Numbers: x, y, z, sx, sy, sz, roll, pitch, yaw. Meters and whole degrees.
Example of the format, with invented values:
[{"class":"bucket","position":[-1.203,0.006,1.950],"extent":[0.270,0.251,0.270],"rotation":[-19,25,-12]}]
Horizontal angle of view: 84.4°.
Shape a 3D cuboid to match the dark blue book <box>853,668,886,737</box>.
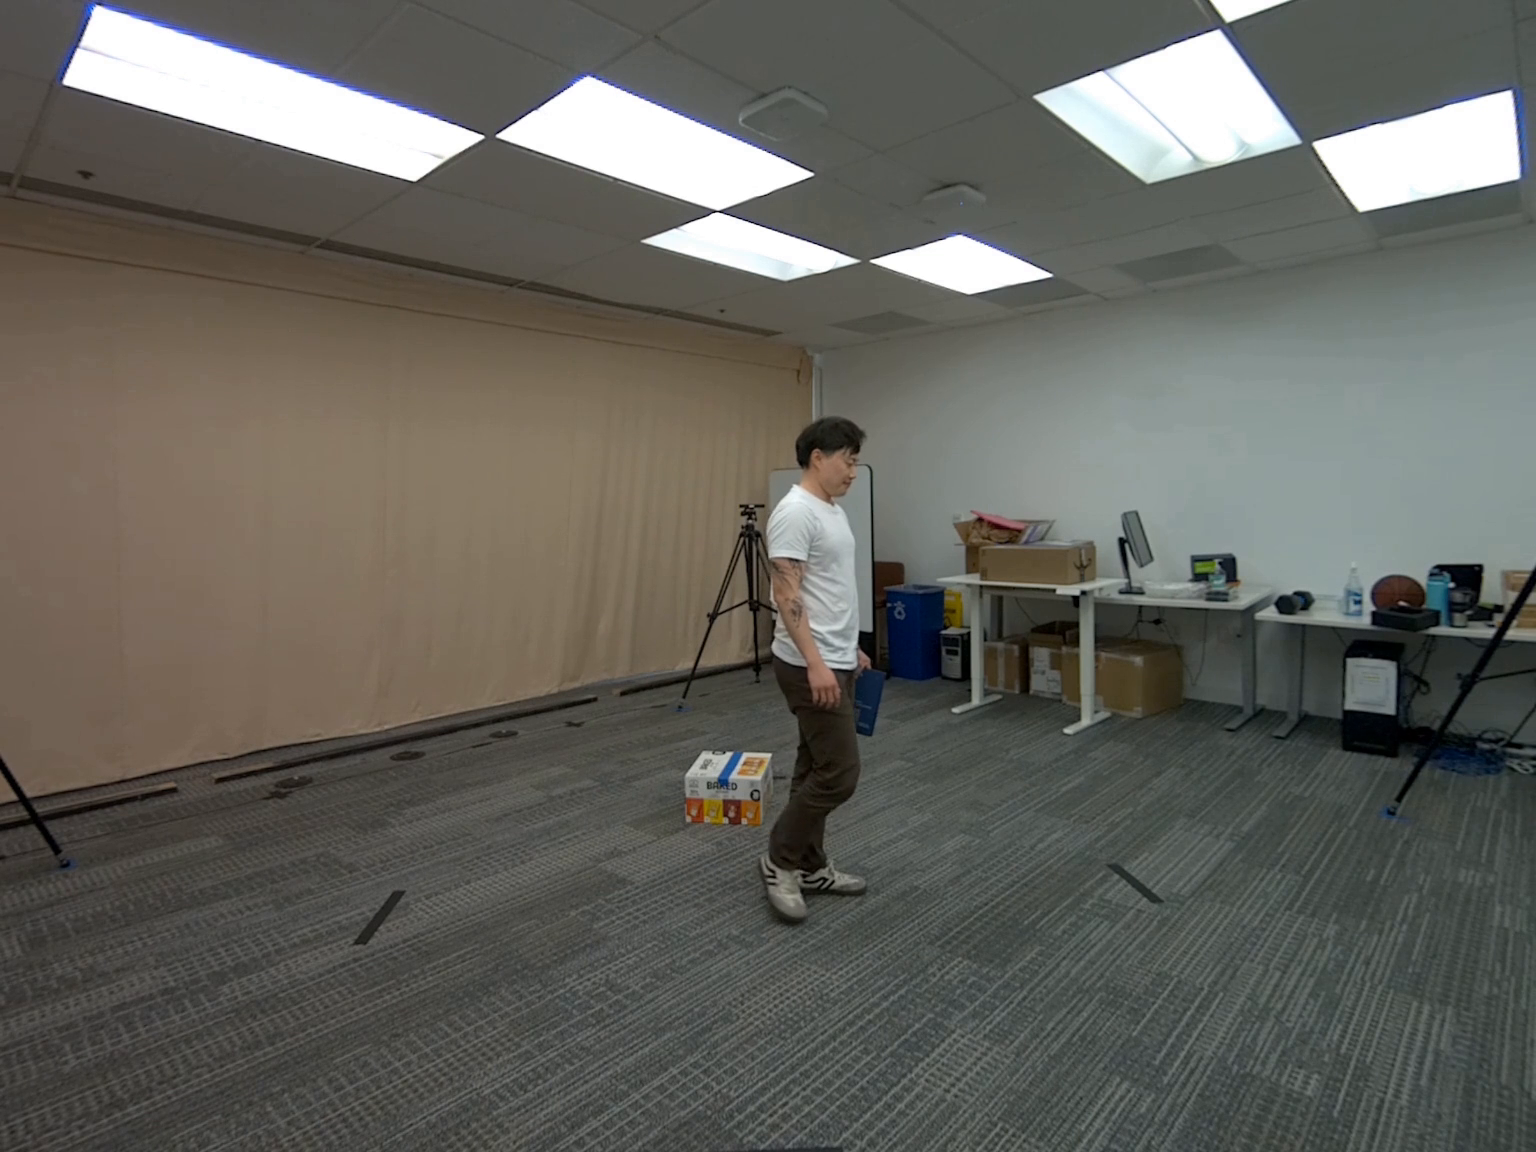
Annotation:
[{"class":"dark blue book","position":[0.343,0.468,3.173],"extent":[0.165,0.245,0.045],"rotation":[12,-3,7]}]
